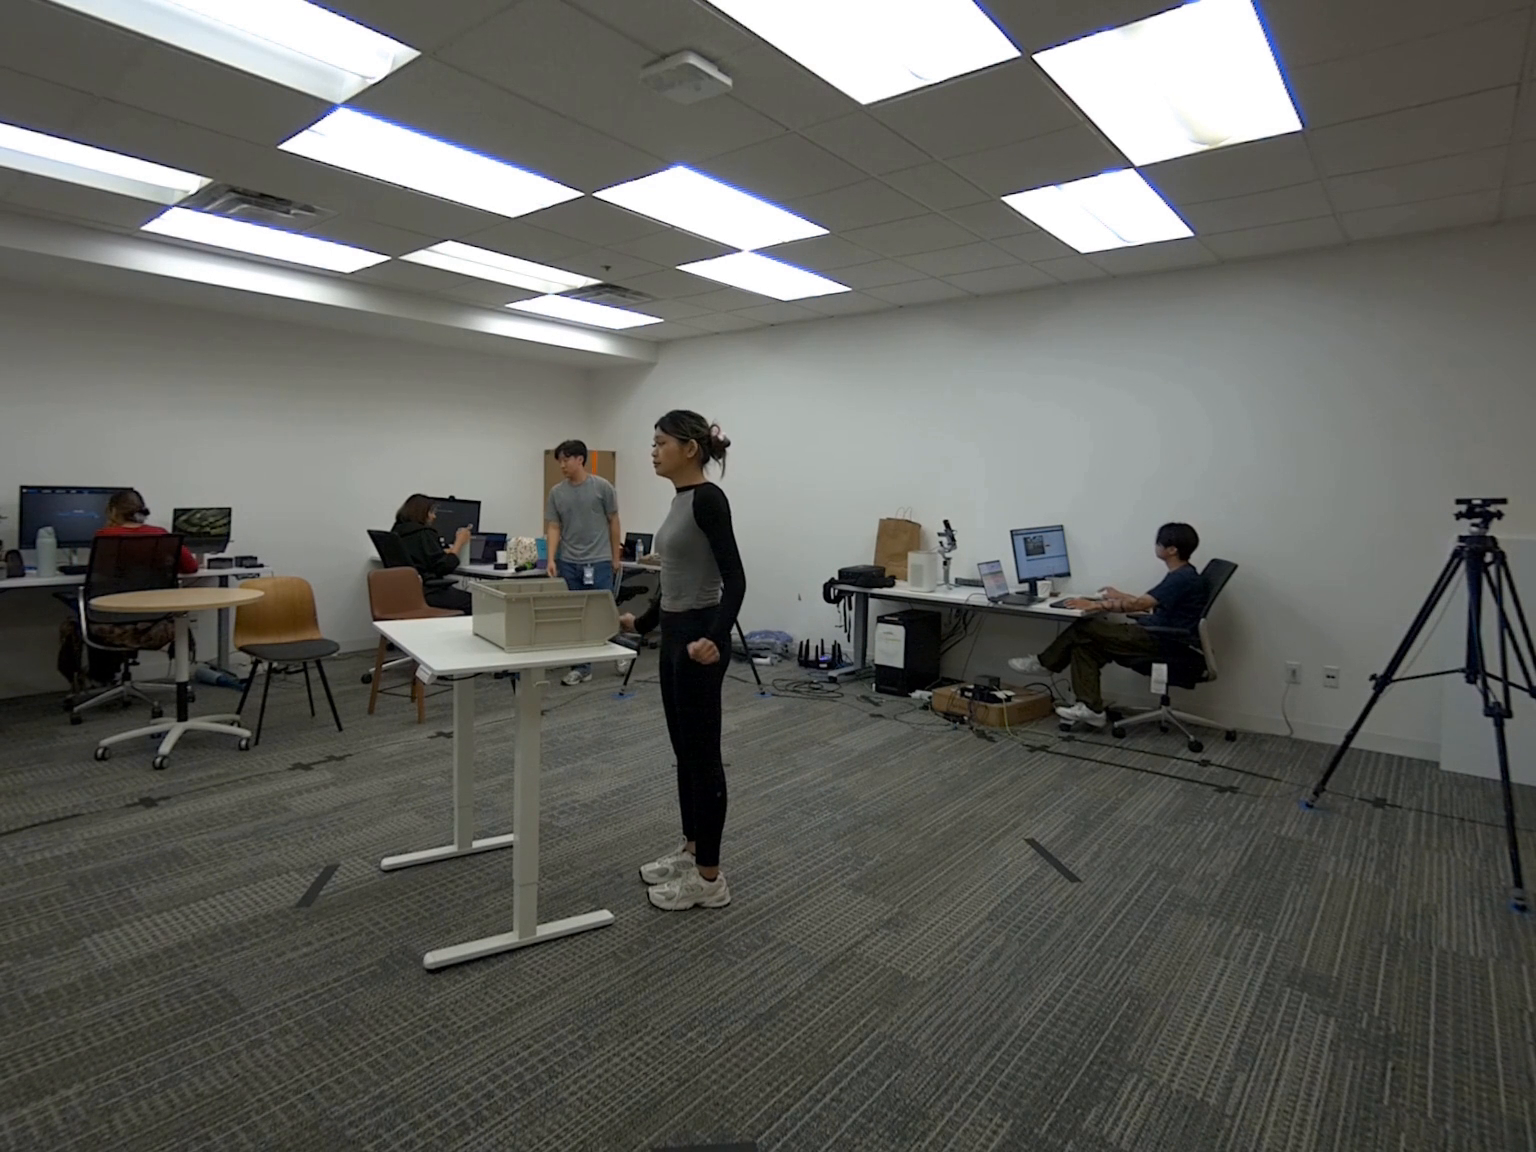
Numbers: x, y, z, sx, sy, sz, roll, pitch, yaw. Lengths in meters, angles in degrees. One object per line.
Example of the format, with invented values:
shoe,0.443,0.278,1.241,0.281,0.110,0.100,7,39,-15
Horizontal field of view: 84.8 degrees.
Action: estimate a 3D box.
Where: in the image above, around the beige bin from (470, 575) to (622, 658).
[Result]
beige bin,-0.749,0.119,2.804,0.367,0.188,0.436,-3,7,-32
